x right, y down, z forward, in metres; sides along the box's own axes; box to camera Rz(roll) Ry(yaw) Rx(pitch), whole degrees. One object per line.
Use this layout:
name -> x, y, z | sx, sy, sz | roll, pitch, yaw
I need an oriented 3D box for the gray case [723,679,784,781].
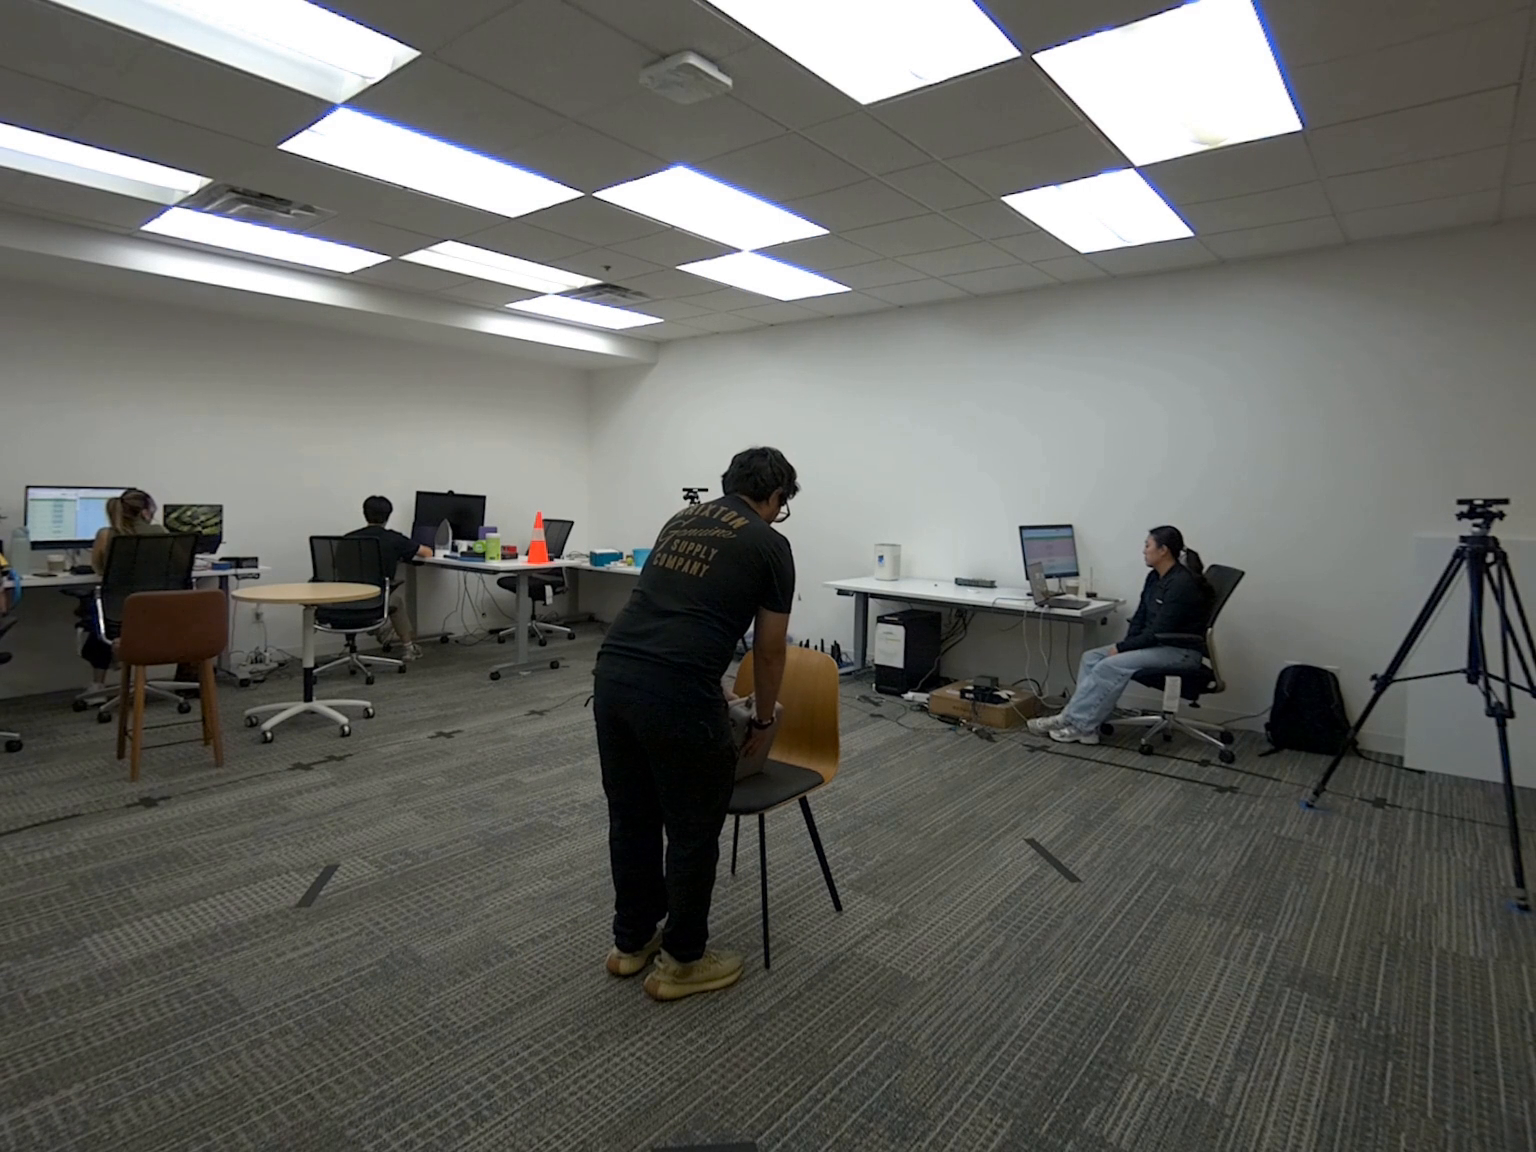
gray case -> -0.087, 0.511, 2.697 | 0.108, 0.259, 0.249 | 24, 10, 29
